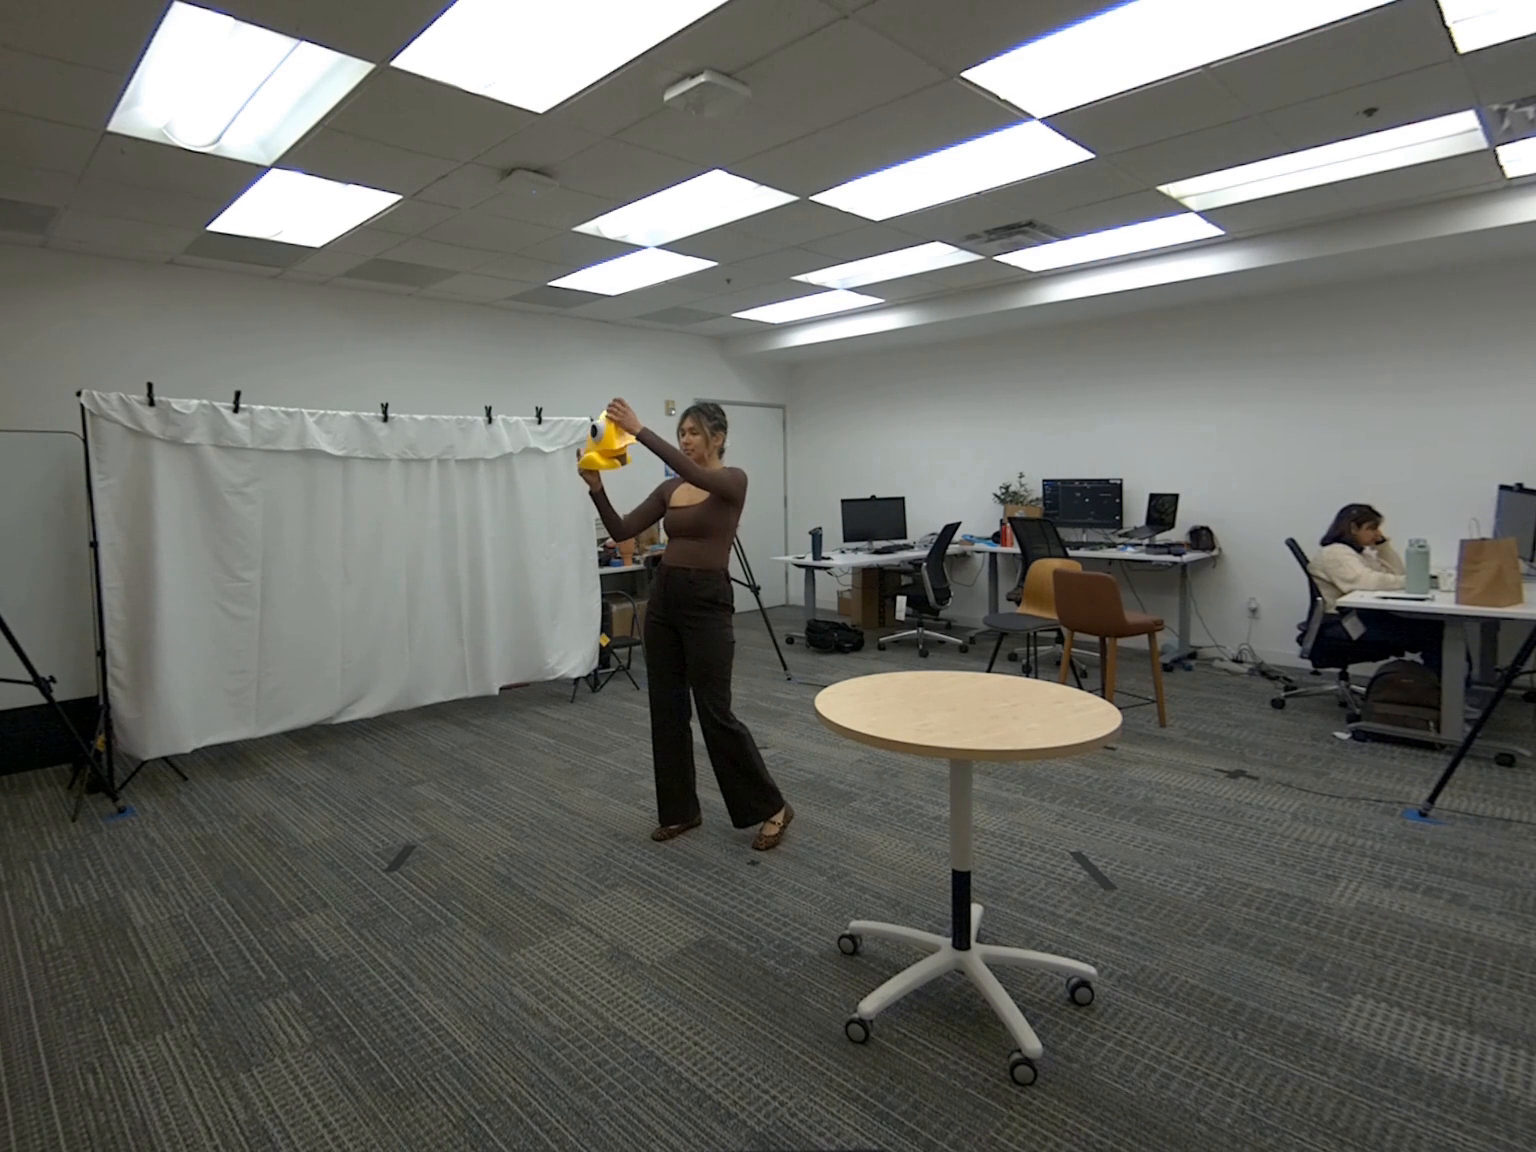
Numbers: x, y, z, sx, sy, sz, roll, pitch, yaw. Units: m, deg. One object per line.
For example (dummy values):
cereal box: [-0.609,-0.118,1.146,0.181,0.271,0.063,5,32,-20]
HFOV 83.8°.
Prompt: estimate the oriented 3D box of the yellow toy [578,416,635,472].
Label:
yellow toy: [-0.577,-0.516,3.067,0.197,0.227,0.203,7,19,20]
